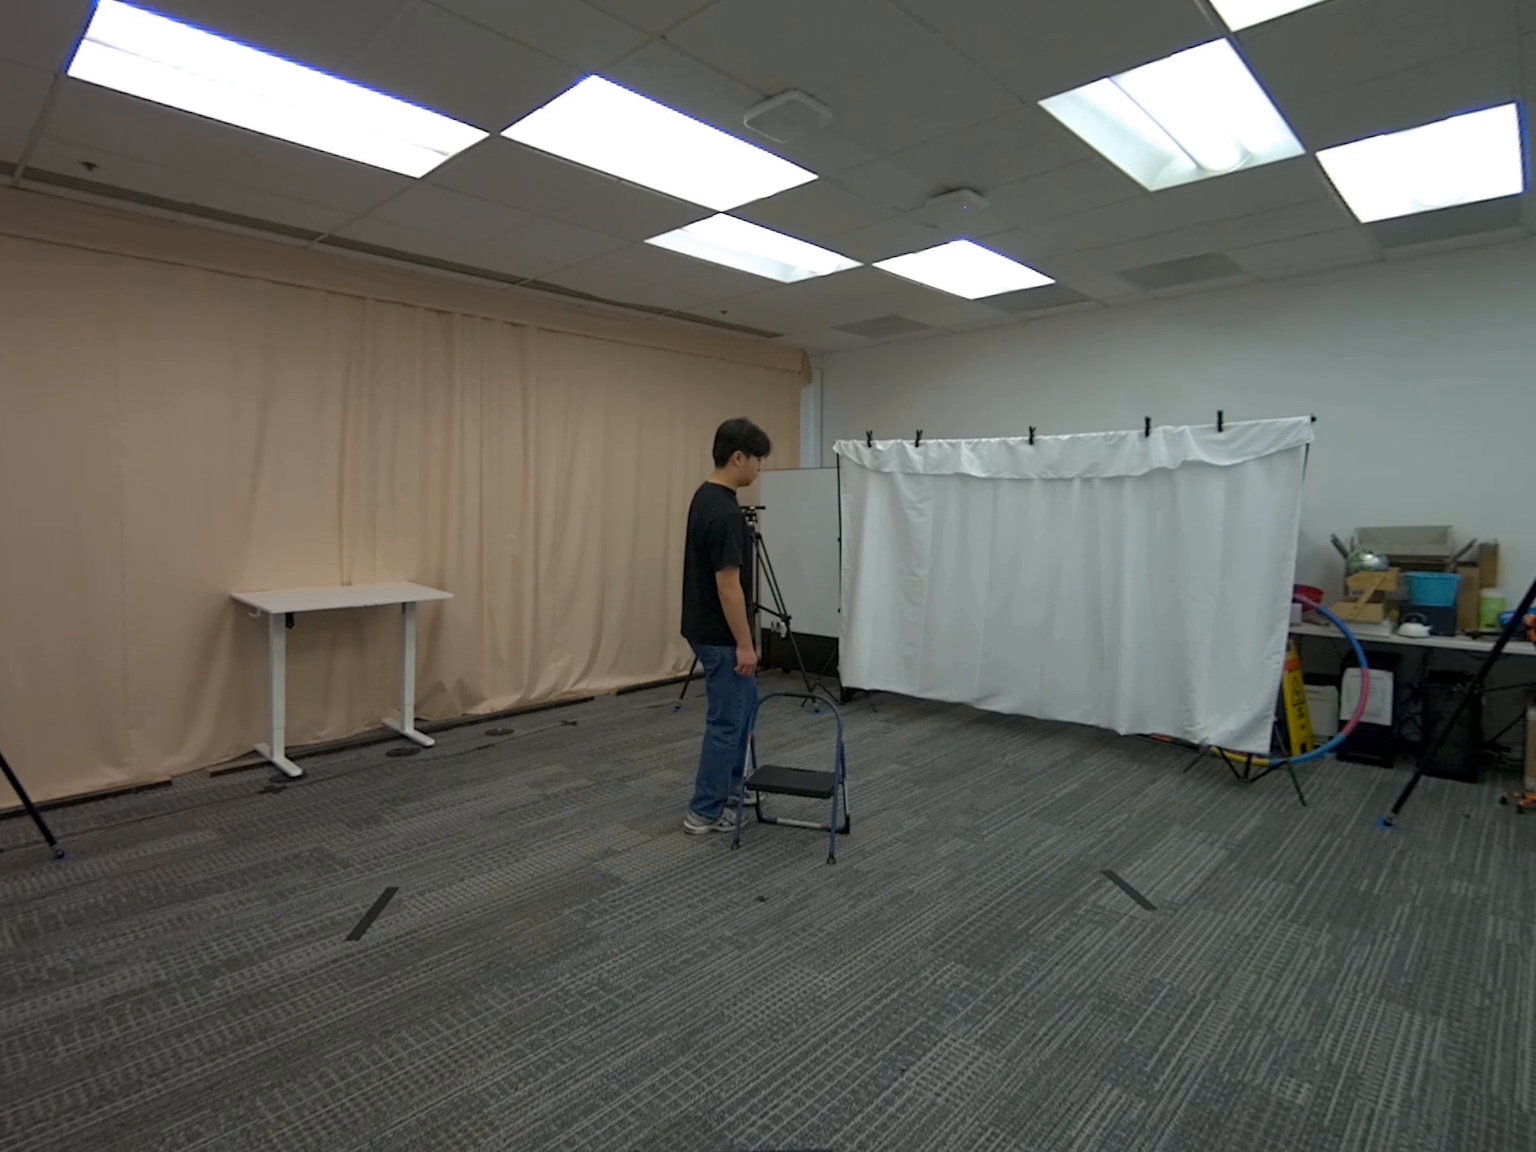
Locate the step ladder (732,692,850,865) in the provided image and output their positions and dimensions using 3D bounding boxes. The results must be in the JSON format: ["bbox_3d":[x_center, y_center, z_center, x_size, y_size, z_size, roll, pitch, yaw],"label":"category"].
[{"bbox_3d":[0.112,0.799,3.490,0.439,0.605,0.343,1,3,19],"label":"step ladder"}]
